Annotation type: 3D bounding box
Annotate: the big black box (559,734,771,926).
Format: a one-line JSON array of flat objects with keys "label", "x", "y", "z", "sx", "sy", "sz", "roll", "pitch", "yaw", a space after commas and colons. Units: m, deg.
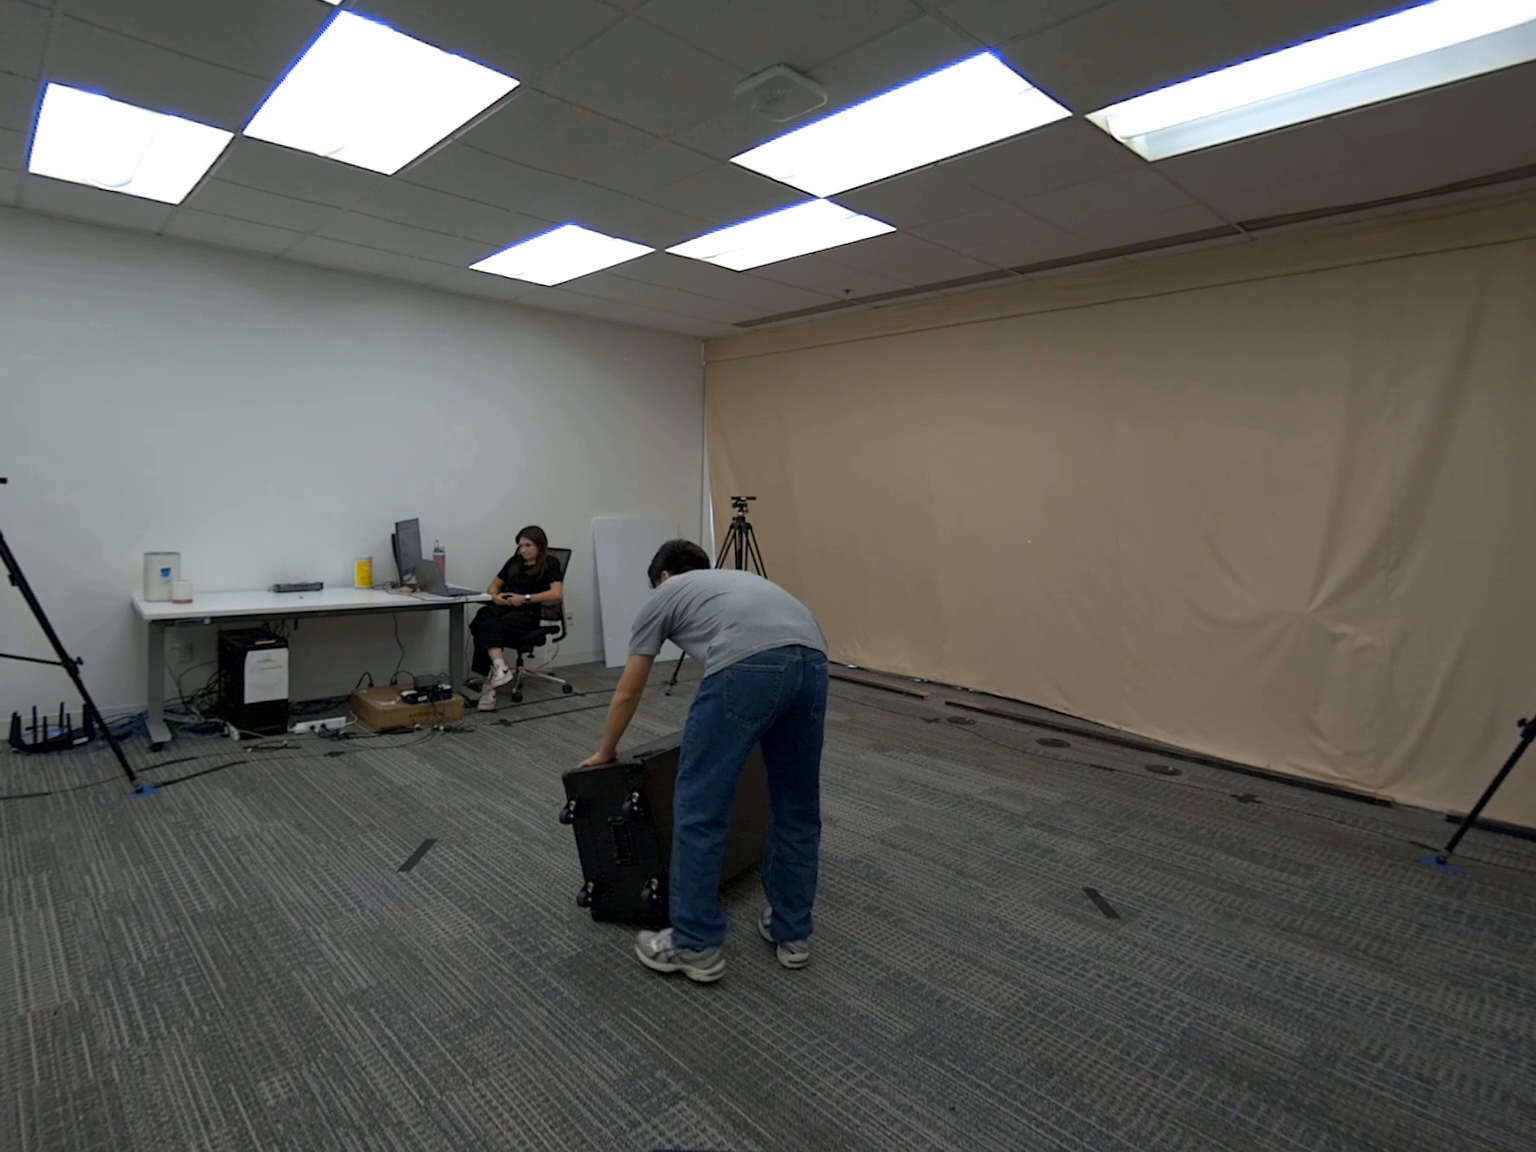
[{"label": "big black box", "x": -0.320, "y": 0.831, "z": 2.994, "sx": 0.402, "sy": 0.524, "sz": 0.845, "roll": -17, "pitch": -5, "yaw": 30}]
